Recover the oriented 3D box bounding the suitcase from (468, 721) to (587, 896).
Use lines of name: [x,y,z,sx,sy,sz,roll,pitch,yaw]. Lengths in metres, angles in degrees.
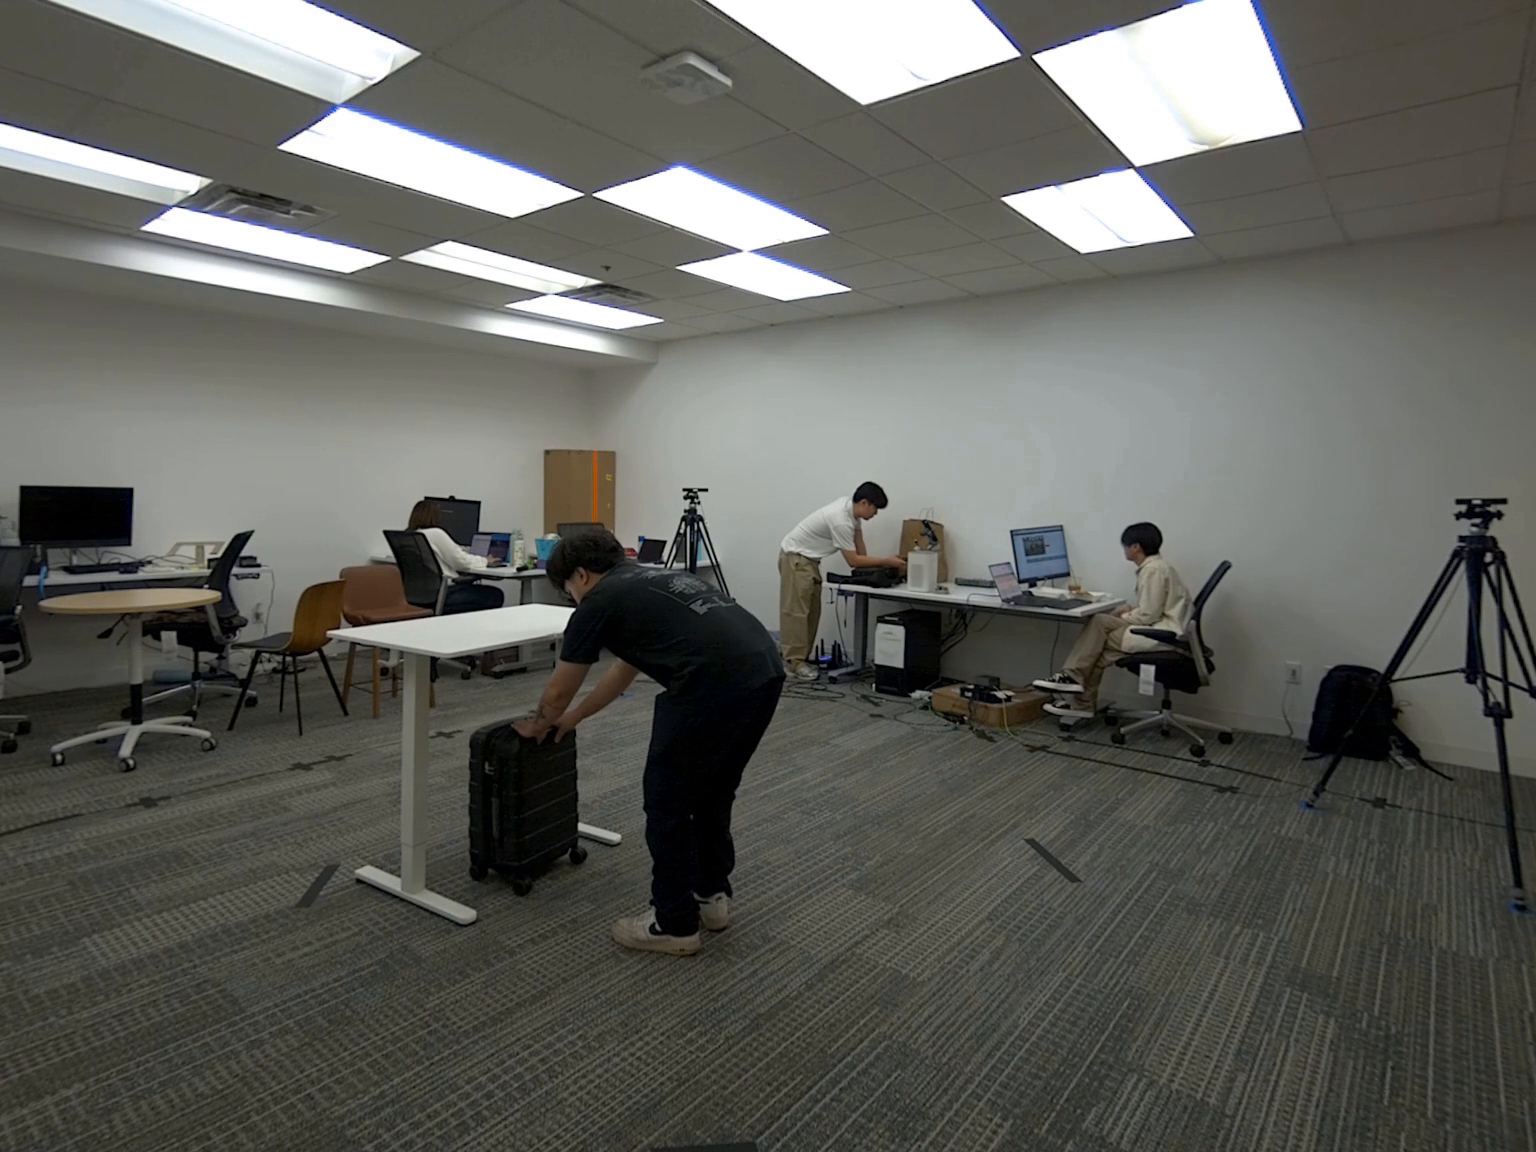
suitcase: [-0.889,0.794,3.073,0.255,0.549,0.366,-1,1,28]
